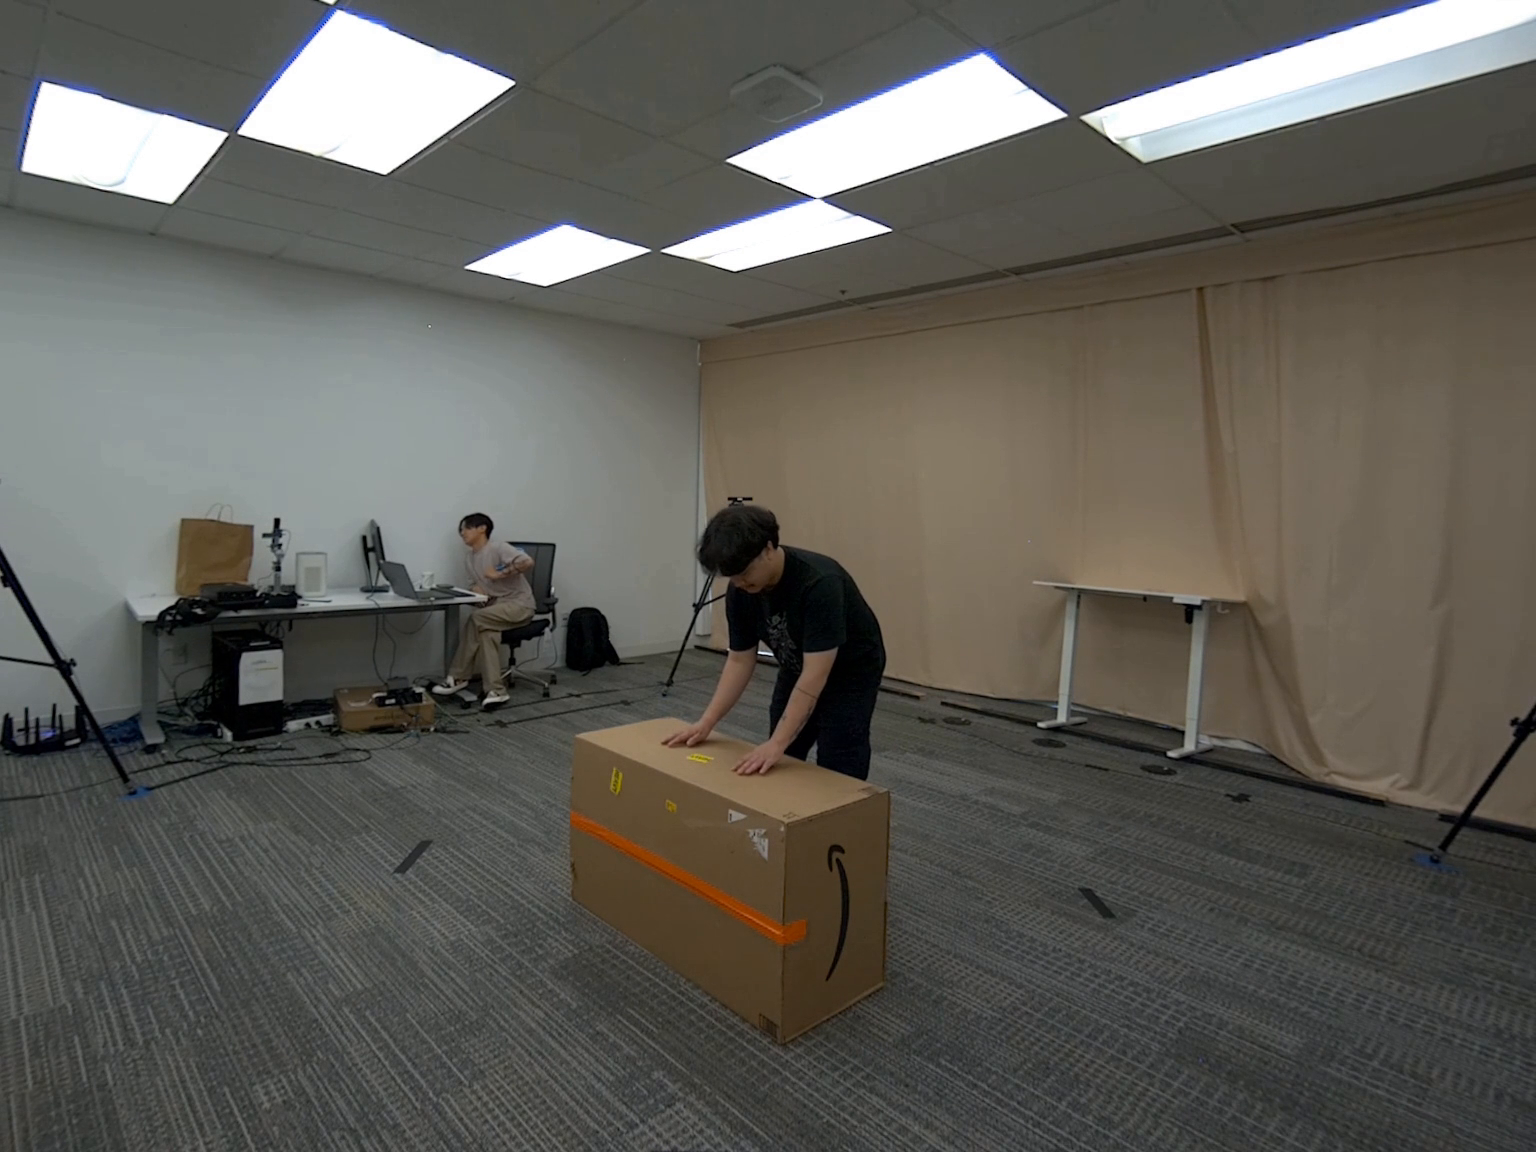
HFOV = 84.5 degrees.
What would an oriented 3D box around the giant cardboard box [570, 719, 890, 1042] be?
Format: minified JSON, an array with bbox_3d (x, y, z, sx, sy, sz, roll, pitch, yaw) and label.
[{"bbox_3d":[-0.173,0.865,2.640,0.437,0.582,1.053,-3,6,-43],"label":"giant cardboard box"}]
